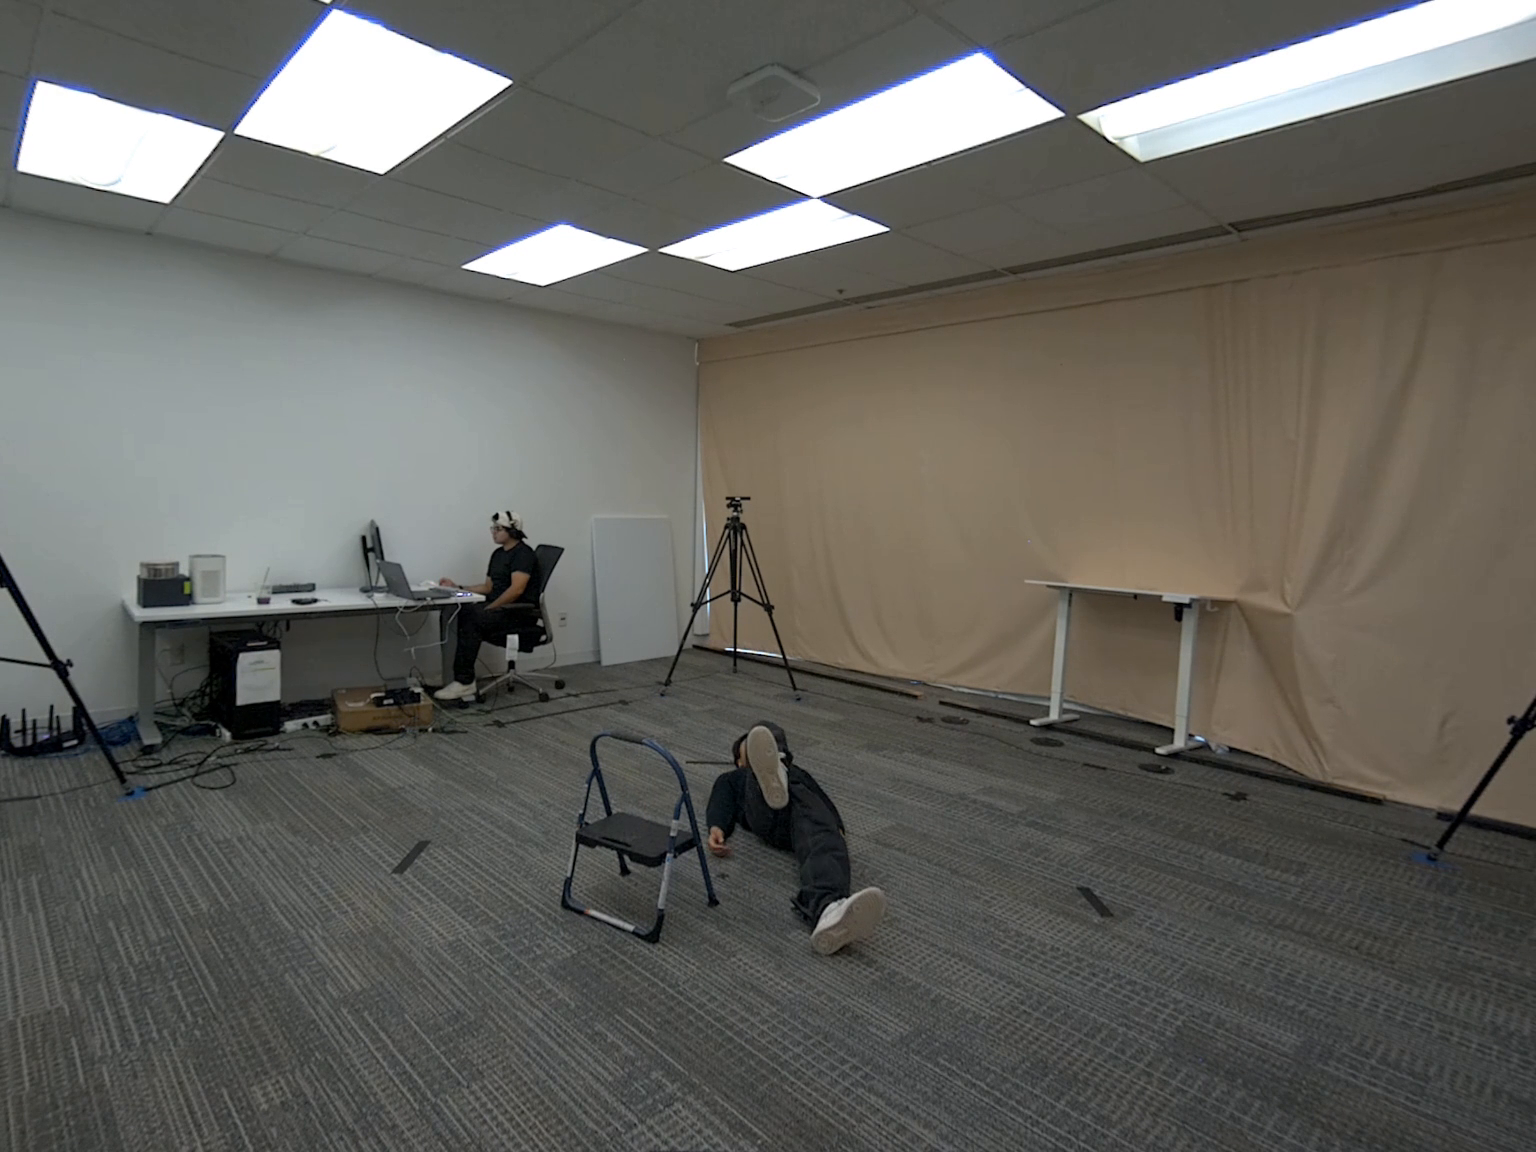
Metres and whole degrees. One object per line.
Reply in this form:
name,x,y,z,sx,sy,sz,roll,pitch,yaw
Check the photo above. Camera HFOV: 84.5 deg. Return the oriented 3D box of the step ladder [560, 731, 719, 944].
step ladder,-0.436,0.820,2.850,0.440,0.605,0.342,4,4,33
